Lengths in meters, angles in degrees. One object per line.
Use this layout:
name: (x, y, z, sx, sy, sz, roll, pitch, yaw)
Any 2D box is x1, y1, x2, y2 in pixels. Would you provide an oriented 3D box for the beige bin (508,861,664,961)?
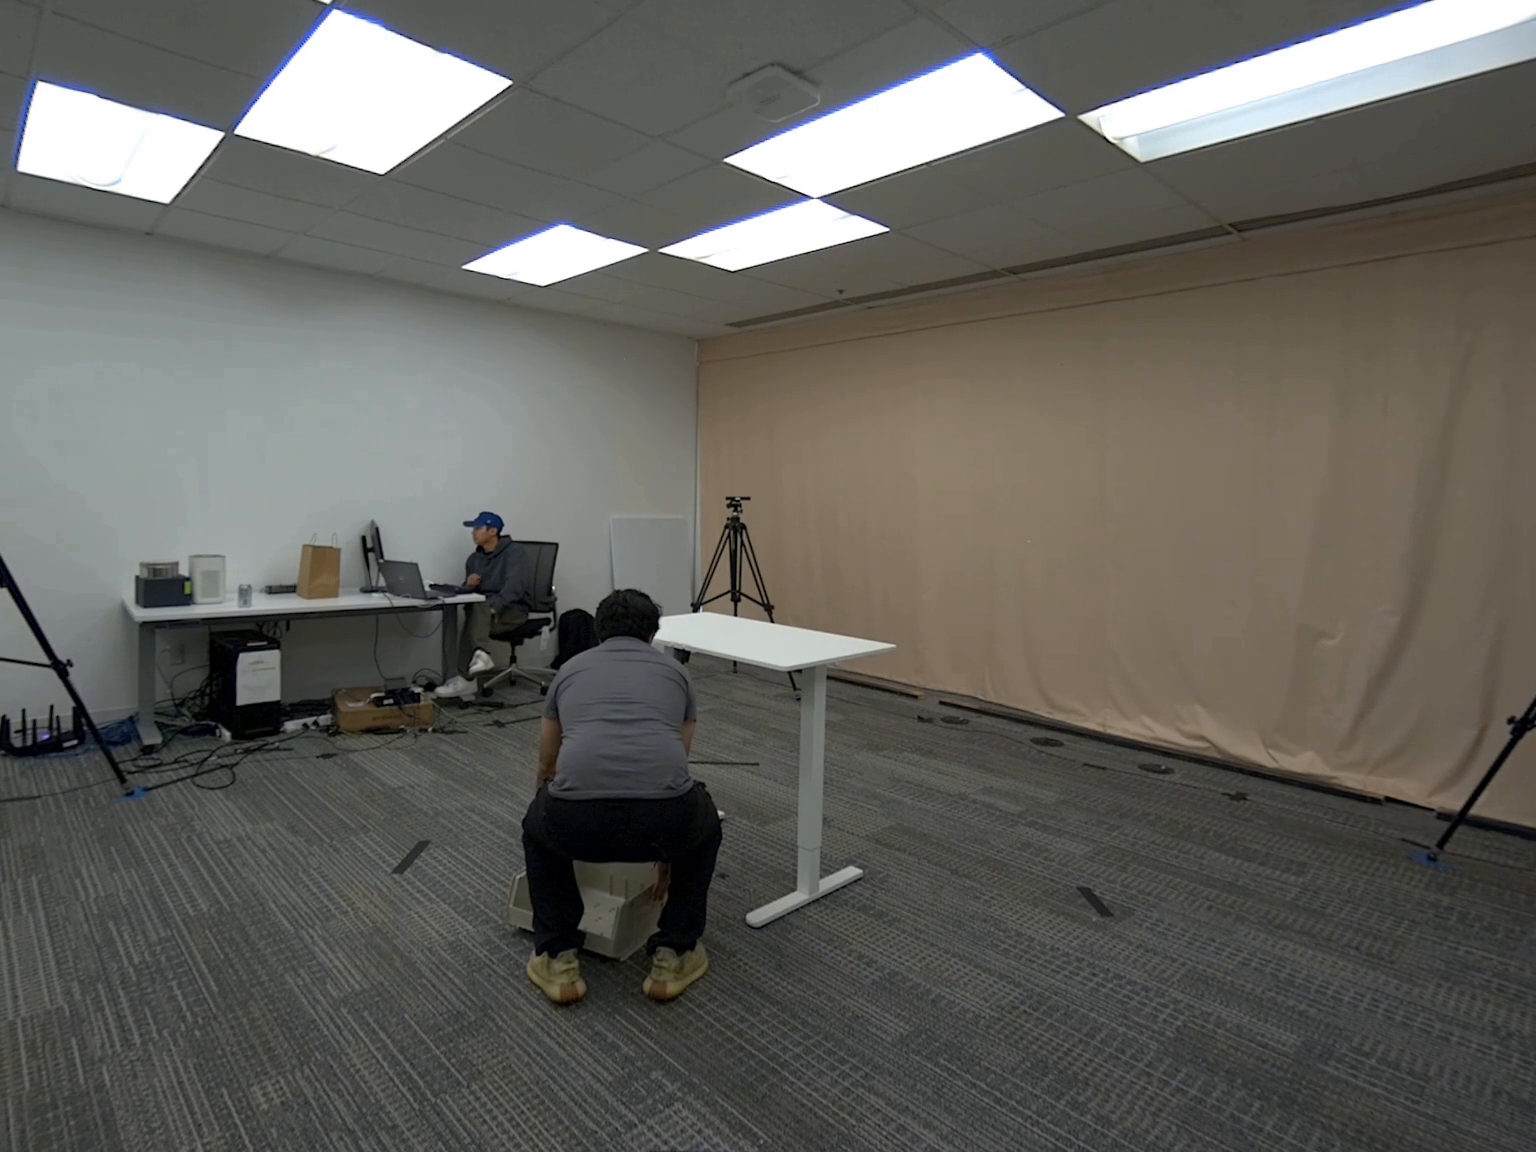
beige bin: (-0.564, 1.052, 2.716, 0.431, 0.188, 0.371, 2, 4, 26)
